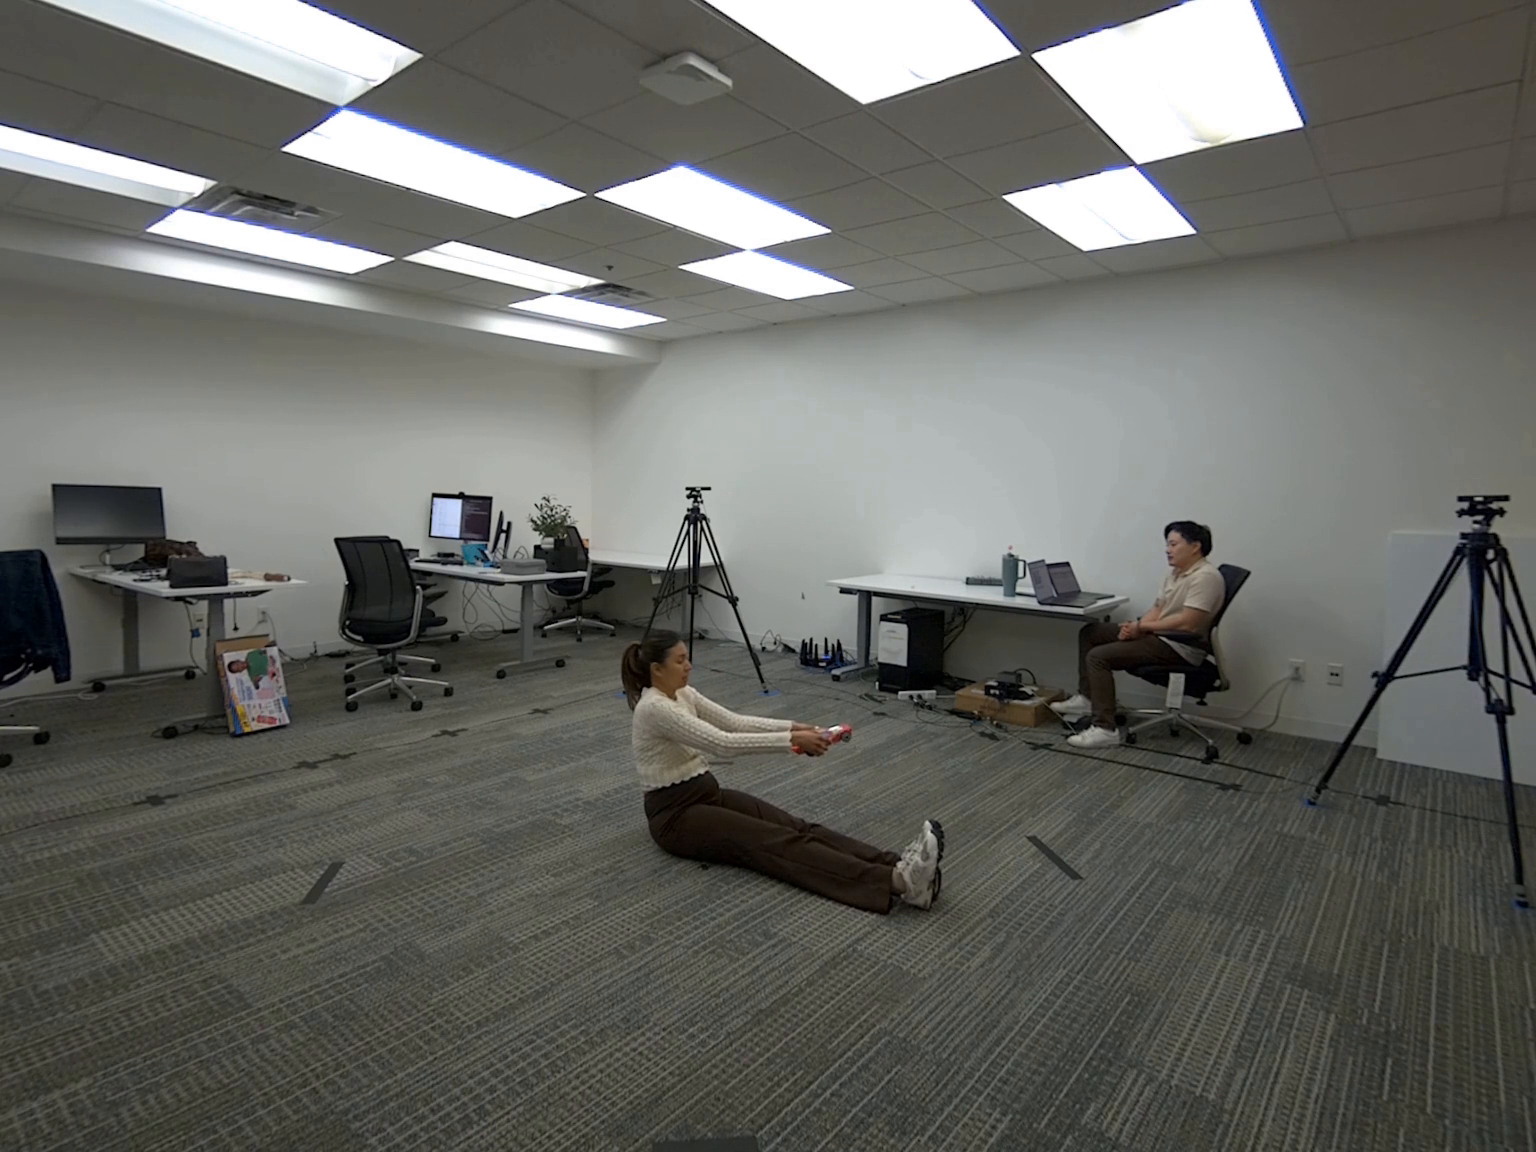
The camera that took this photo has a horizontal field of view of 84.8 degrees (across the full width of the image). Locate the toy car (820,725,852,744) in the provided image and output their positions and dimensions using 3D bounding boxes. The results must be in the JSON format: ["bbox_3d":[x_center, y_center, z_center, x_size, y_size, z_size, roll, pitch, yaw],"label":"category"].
[{"bbox_3d":[0.185,0.642,3.337,0.253,0.083,0.131,-6,1,-6],"label":"toy car"}]
